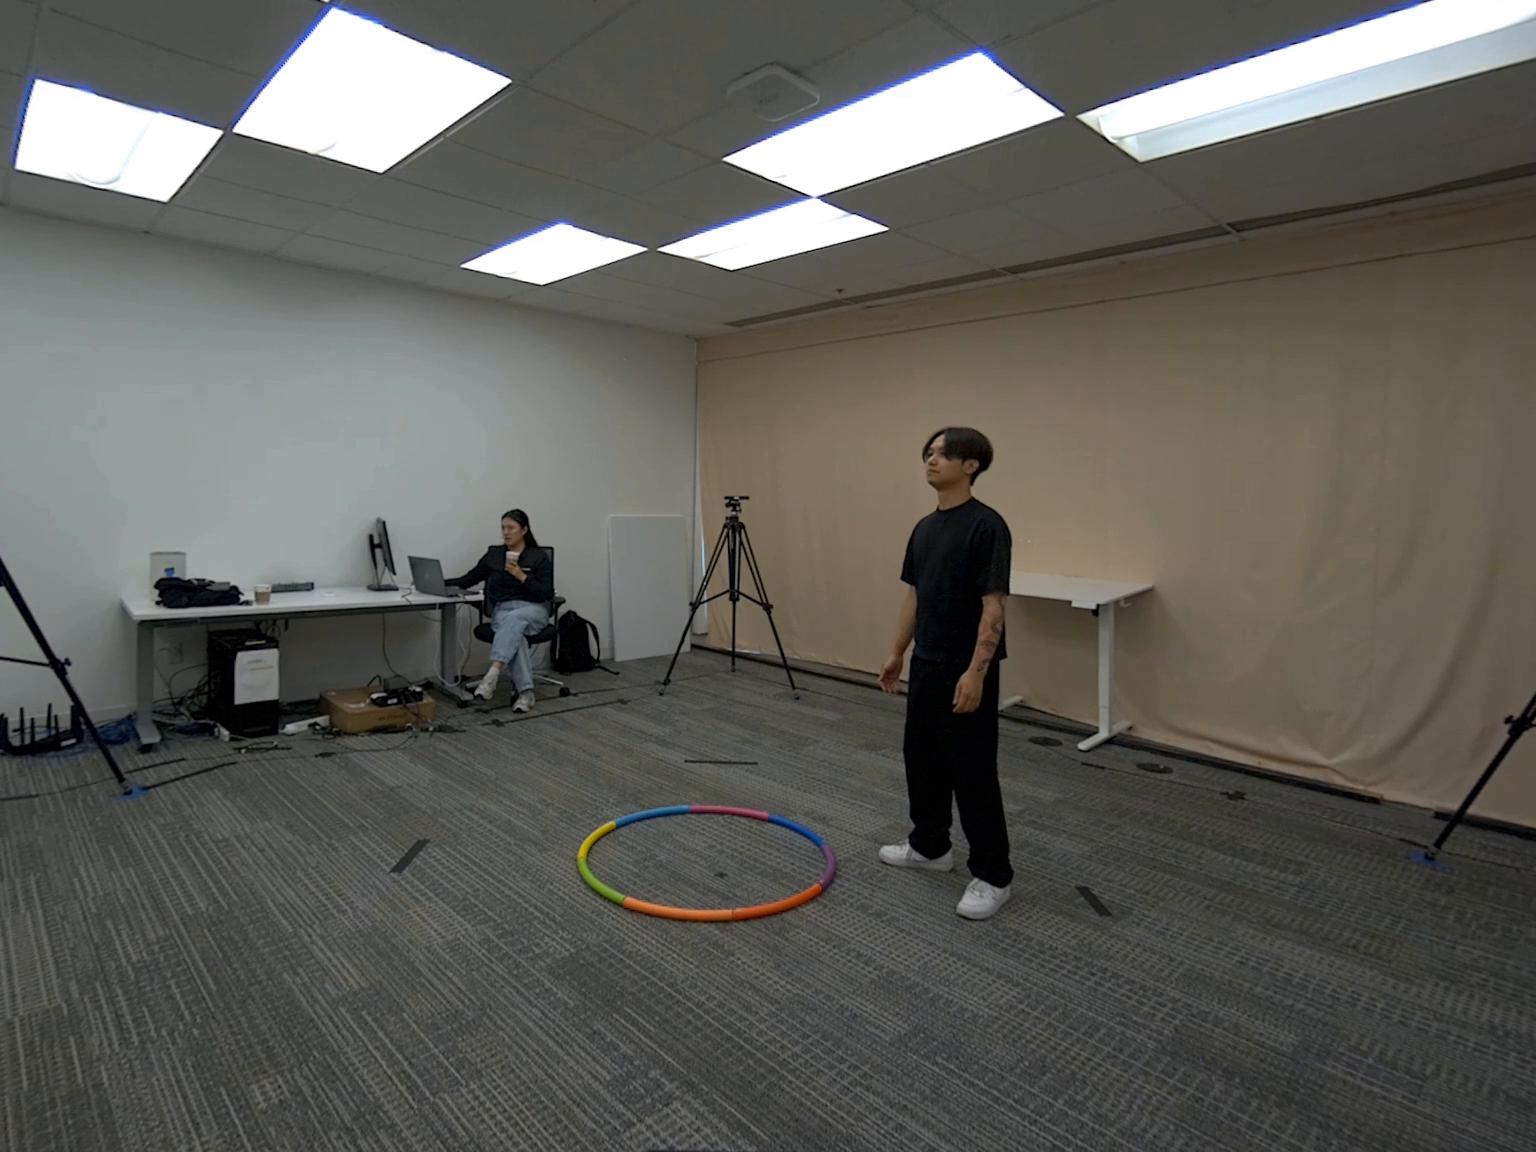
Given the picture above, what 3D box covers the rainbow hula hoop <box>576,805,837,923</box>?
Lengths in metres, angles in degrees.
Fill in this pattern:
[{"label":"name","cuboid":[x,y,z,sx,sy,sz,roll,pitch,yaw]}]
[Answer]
[{"label":"rainbow hula hoop","cuboid":[-0.238,1.060,3.237,0.978,0.035,0.982,1,5,-1]}]
